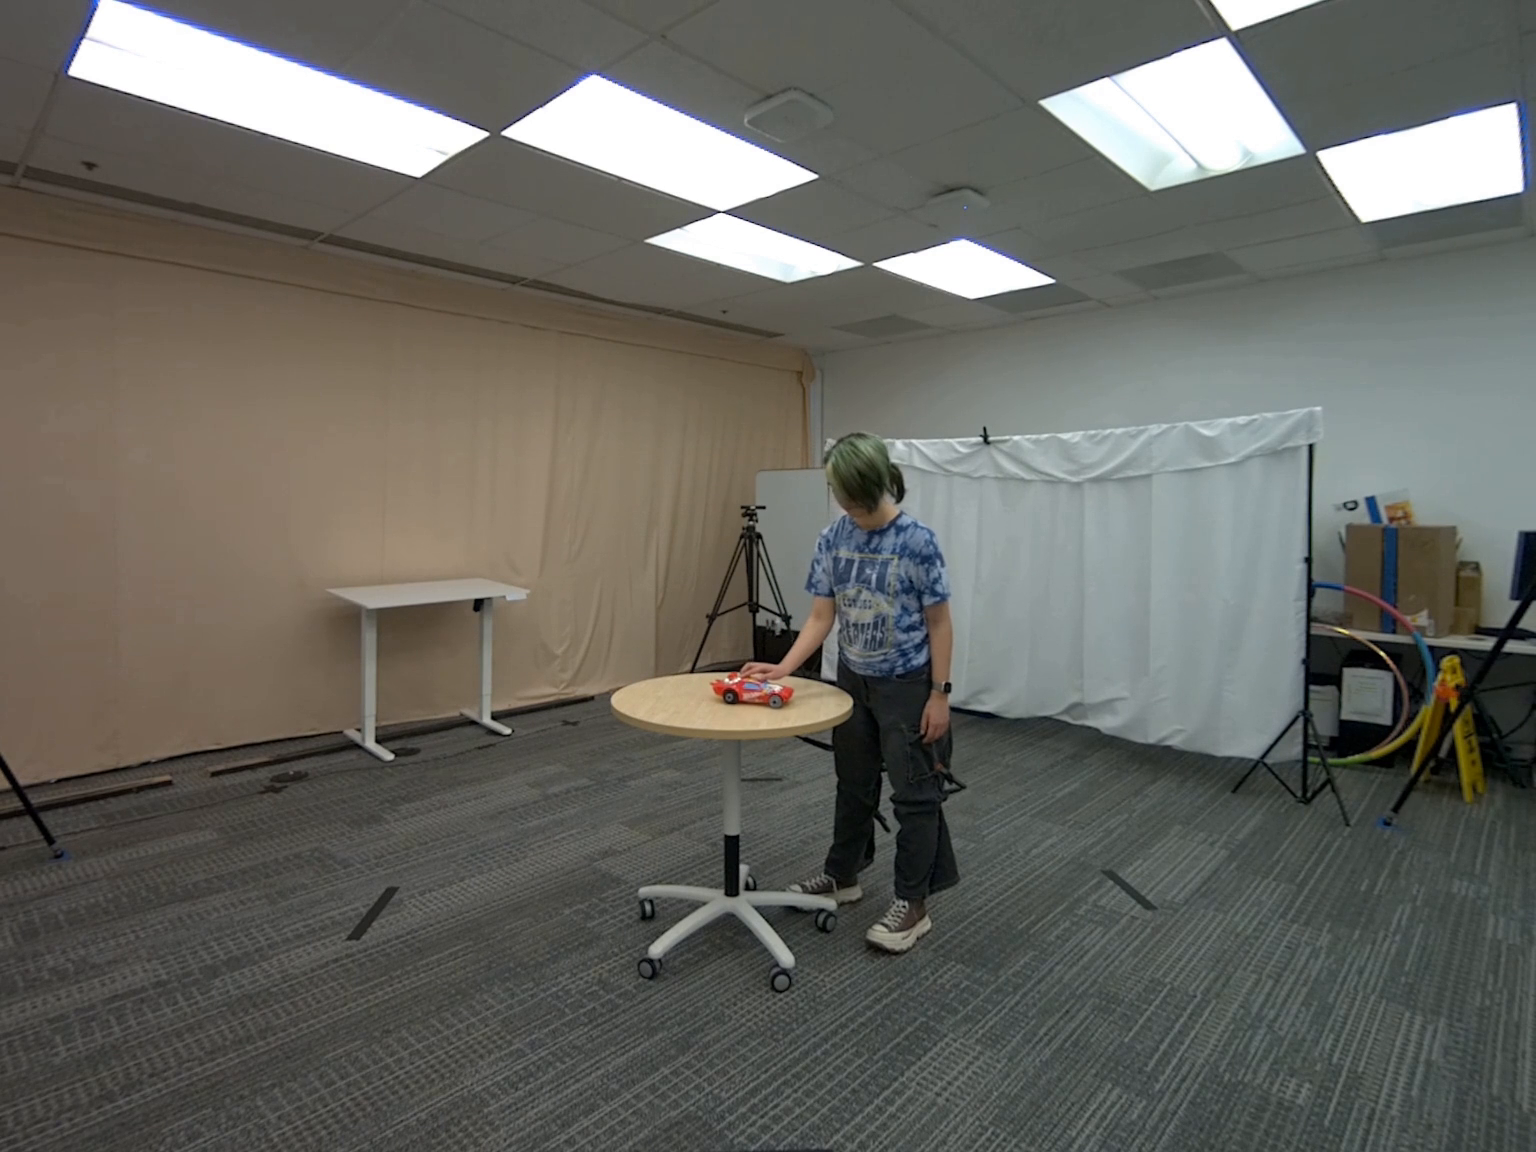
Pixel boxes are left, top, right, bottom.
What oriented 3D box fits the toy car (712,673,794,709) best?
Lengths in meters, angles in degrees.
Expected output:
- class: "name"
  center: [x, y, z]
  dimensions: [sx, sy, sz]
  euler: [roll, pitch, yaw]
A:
- class: "toy car"
  center: [-0.048, 0.363, 2.618]
  dimensions: [0.260, 0.083, 0.128]
  euler: [13, 8, 17]
